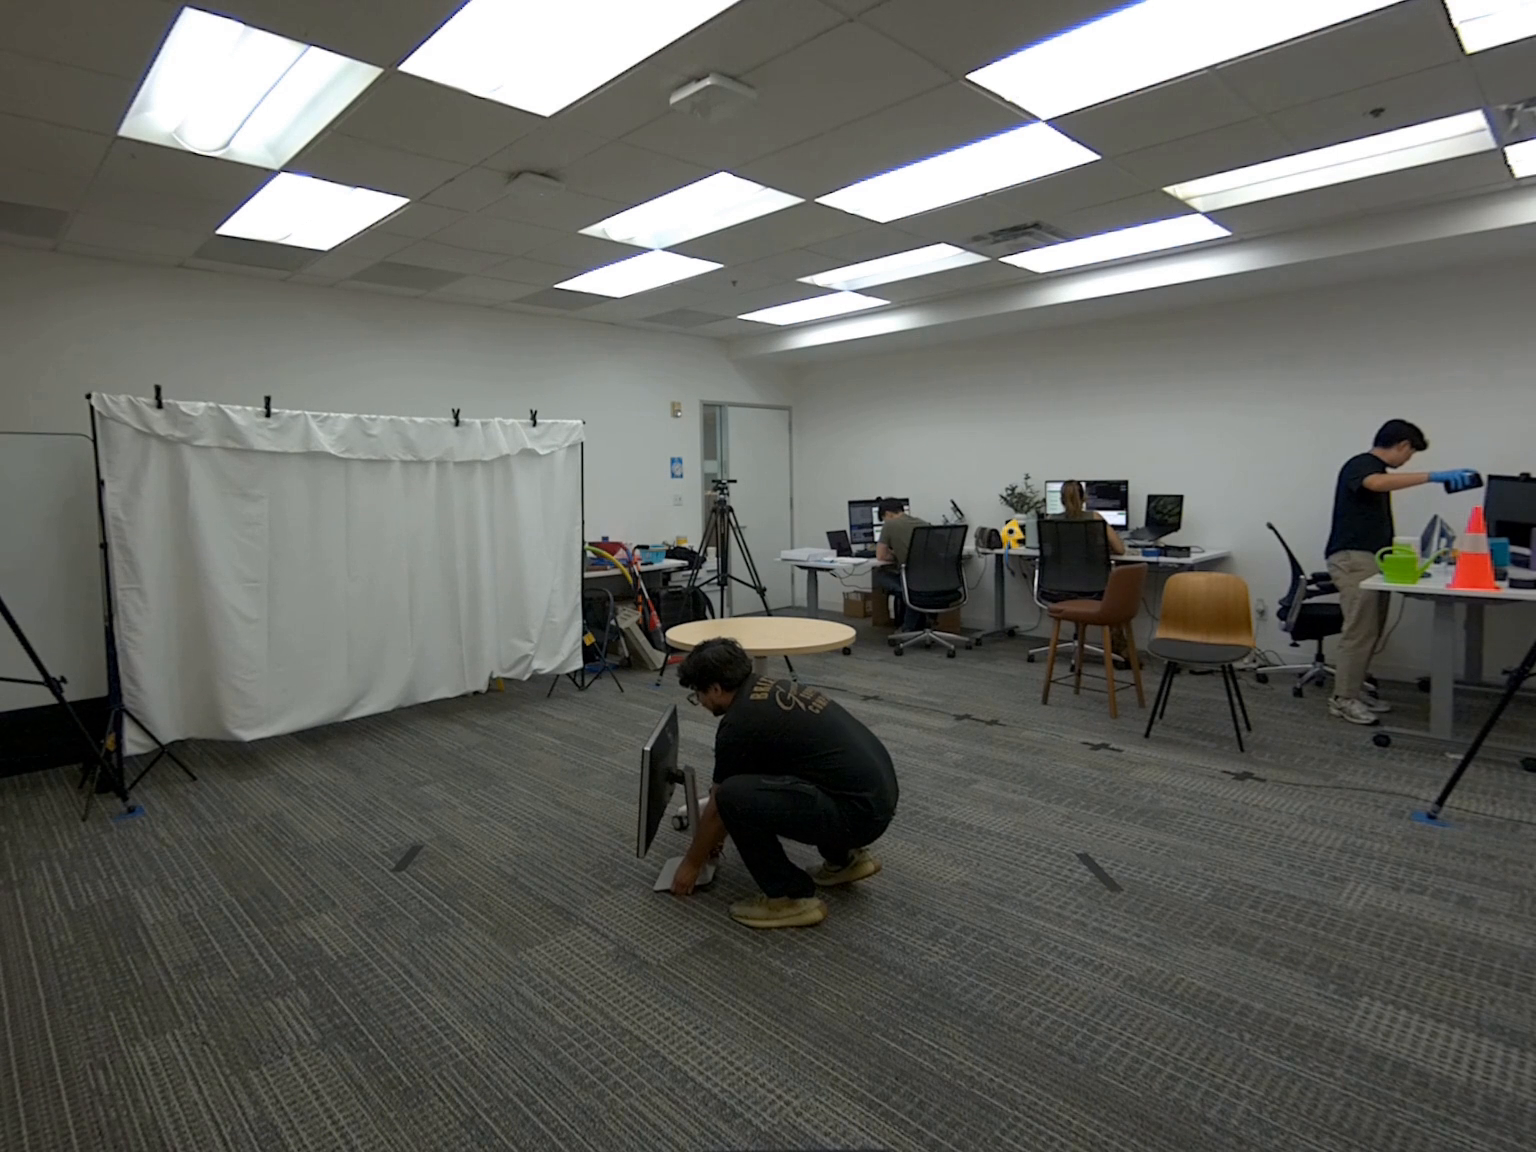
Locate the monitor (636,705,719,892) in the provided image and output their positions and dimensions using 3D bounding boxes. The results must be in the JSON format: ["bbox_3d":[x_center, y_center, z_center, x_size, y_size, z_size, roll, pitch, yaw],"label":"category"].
[{"bbox_3d":[-0.299,0.779,2.993,0.211,0.553,0.565,-4,3,3],"label":"monitor"}]
